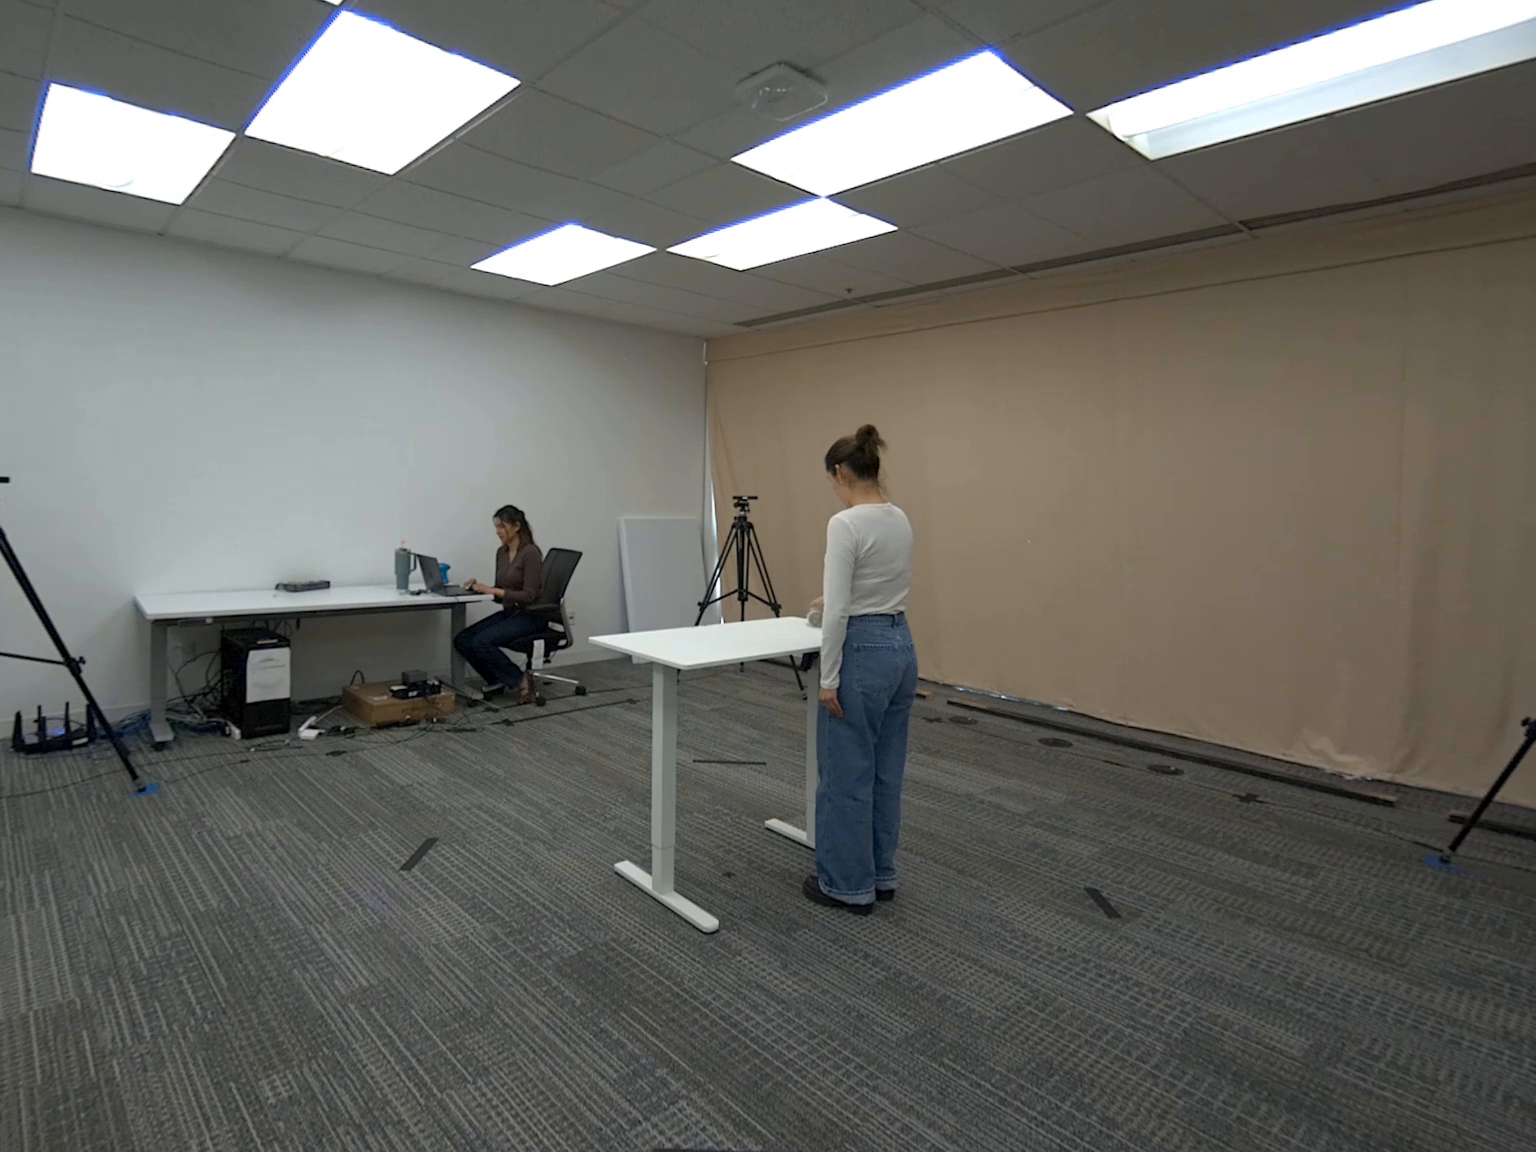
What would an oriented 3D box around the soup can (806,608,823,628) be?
[{"bbox_3d":[0.180,0.166,3.395,0.067,0.067,0.122,1,4,0],"label":"soup can"}]
